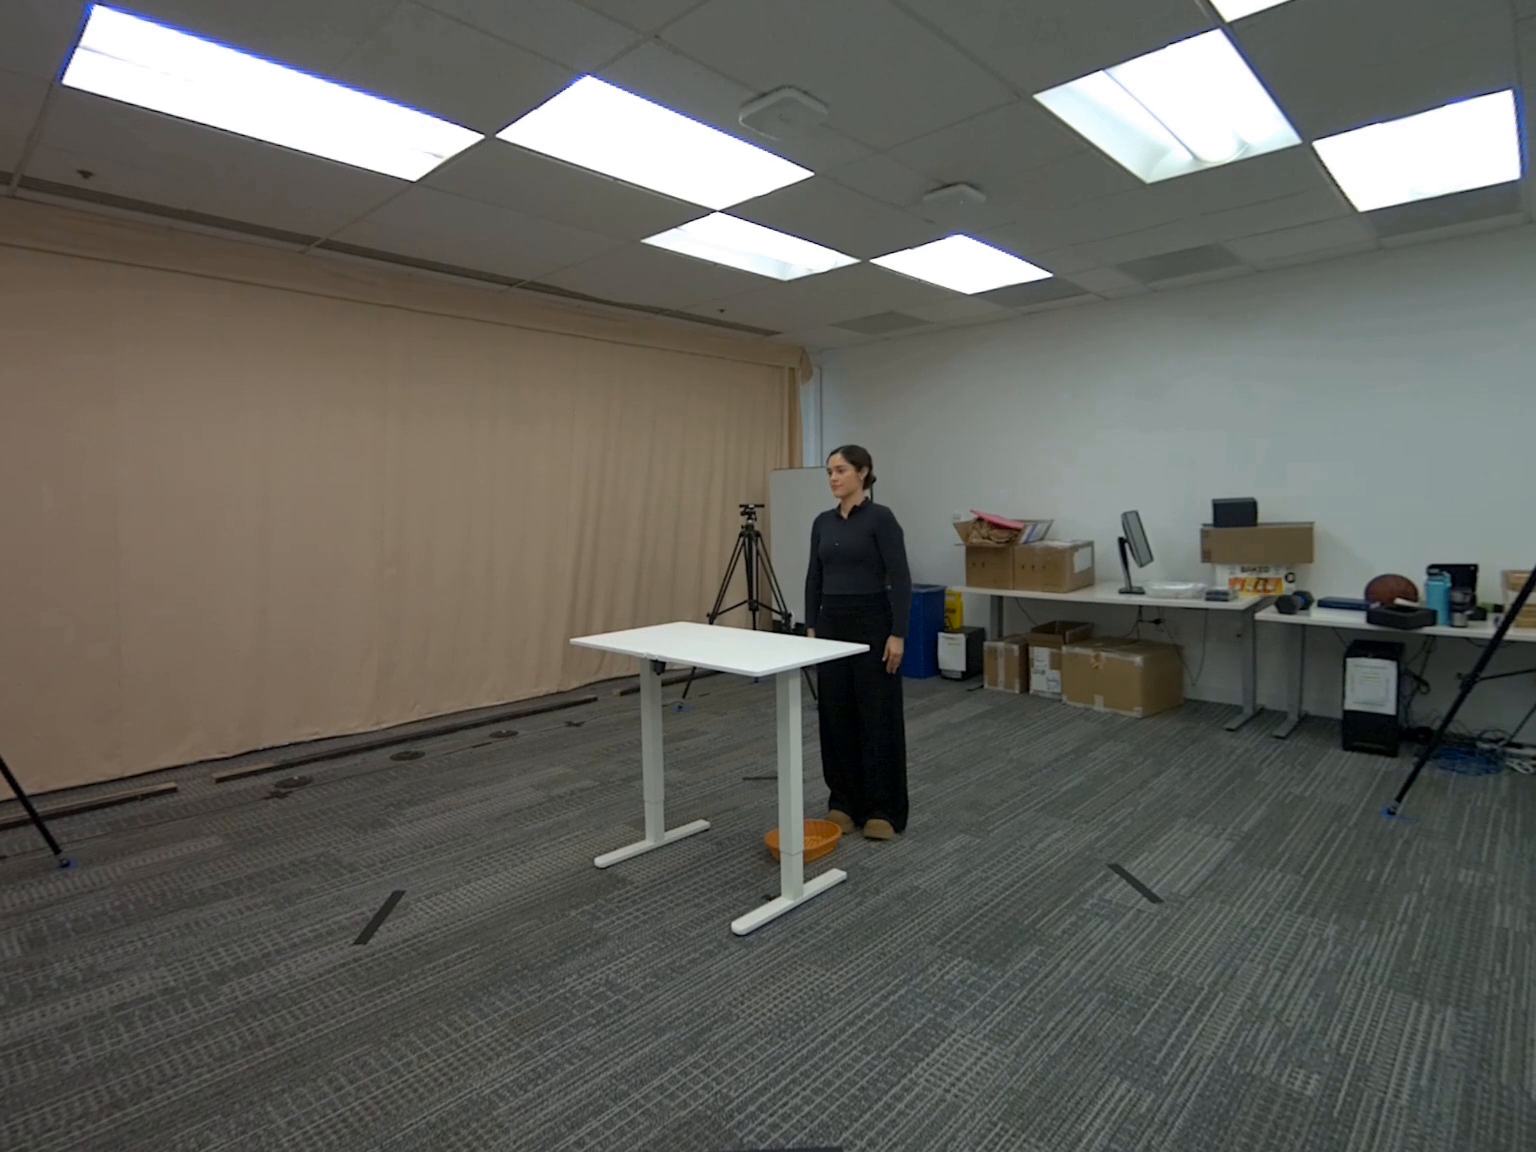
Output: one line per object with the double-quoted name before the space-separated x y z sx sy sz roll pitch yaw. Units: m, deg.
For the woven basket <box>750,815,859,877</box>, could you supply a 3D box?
"woven basket" 0.144 1.064 3.367 0.340 0.073 0.261 -6 6 -43
